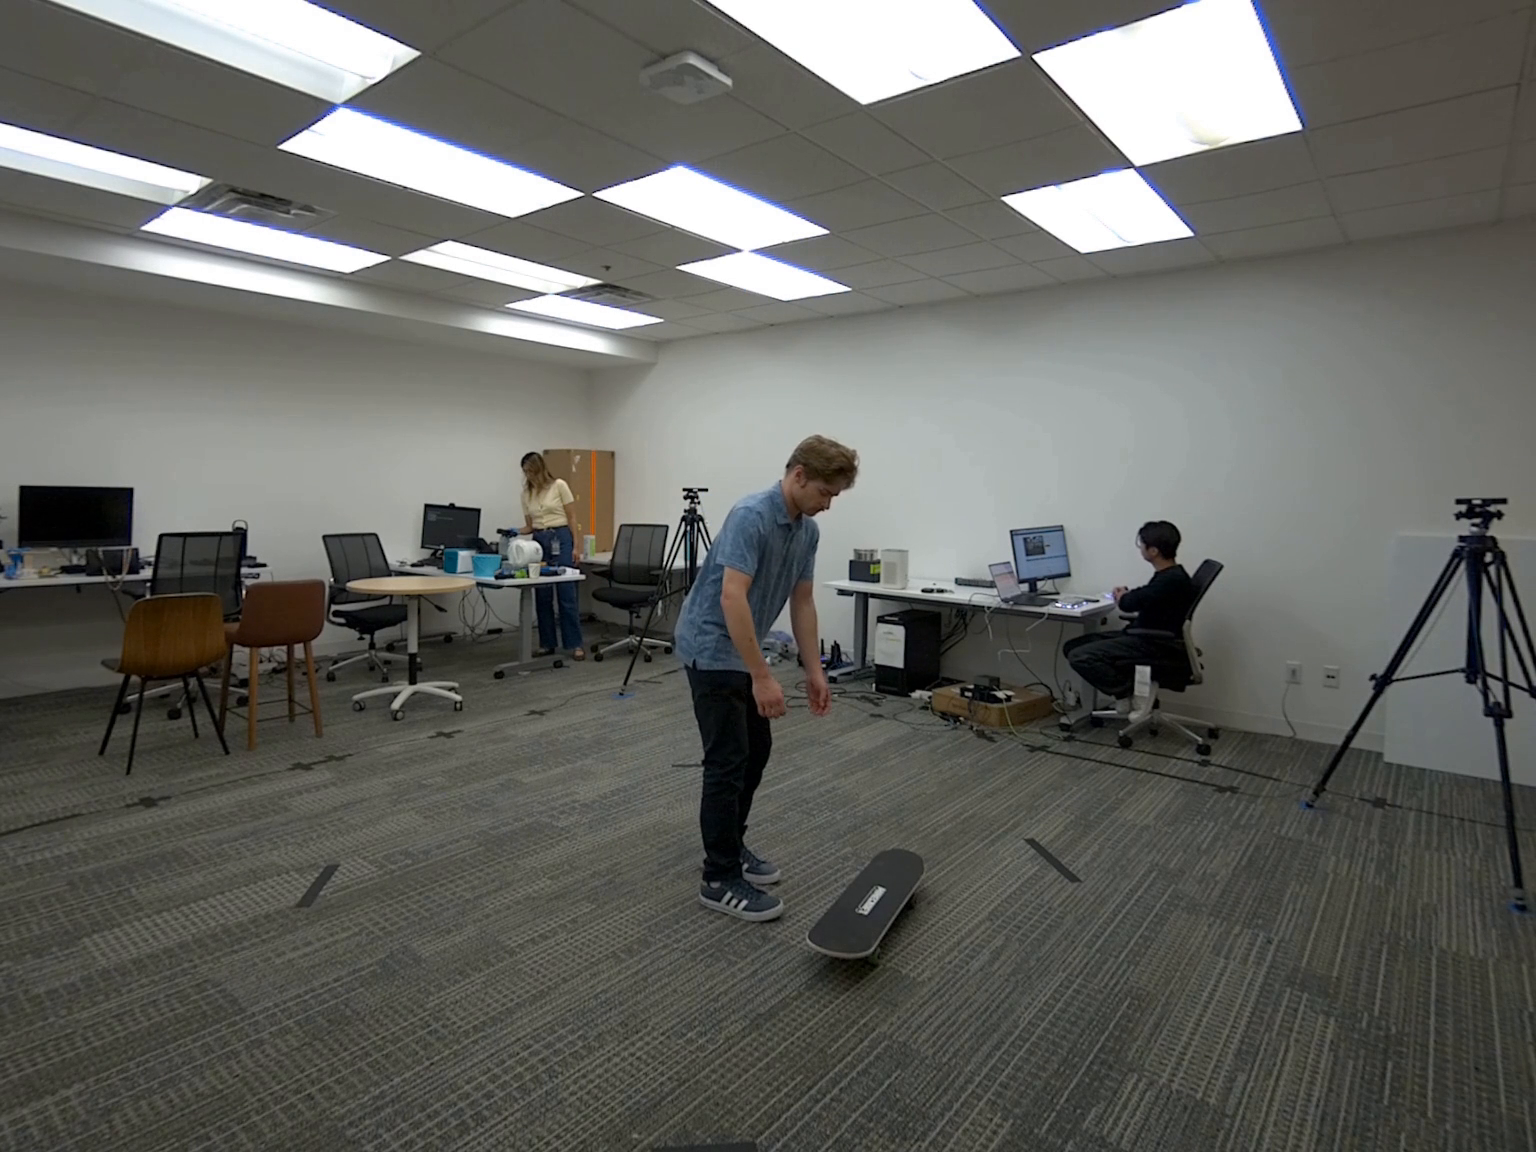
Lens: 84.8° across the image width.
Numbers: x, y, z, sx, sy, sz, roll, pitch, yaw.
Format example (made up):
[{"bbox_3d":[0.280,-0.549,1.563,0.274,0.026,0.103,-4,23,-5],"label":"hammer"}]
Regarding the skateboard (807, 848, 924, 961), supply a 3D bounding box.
[{"bbox_3d":[0.324,1.063,2.722,0.199,0.110,0.767,4,6,25],"label":"skateboard"}]
